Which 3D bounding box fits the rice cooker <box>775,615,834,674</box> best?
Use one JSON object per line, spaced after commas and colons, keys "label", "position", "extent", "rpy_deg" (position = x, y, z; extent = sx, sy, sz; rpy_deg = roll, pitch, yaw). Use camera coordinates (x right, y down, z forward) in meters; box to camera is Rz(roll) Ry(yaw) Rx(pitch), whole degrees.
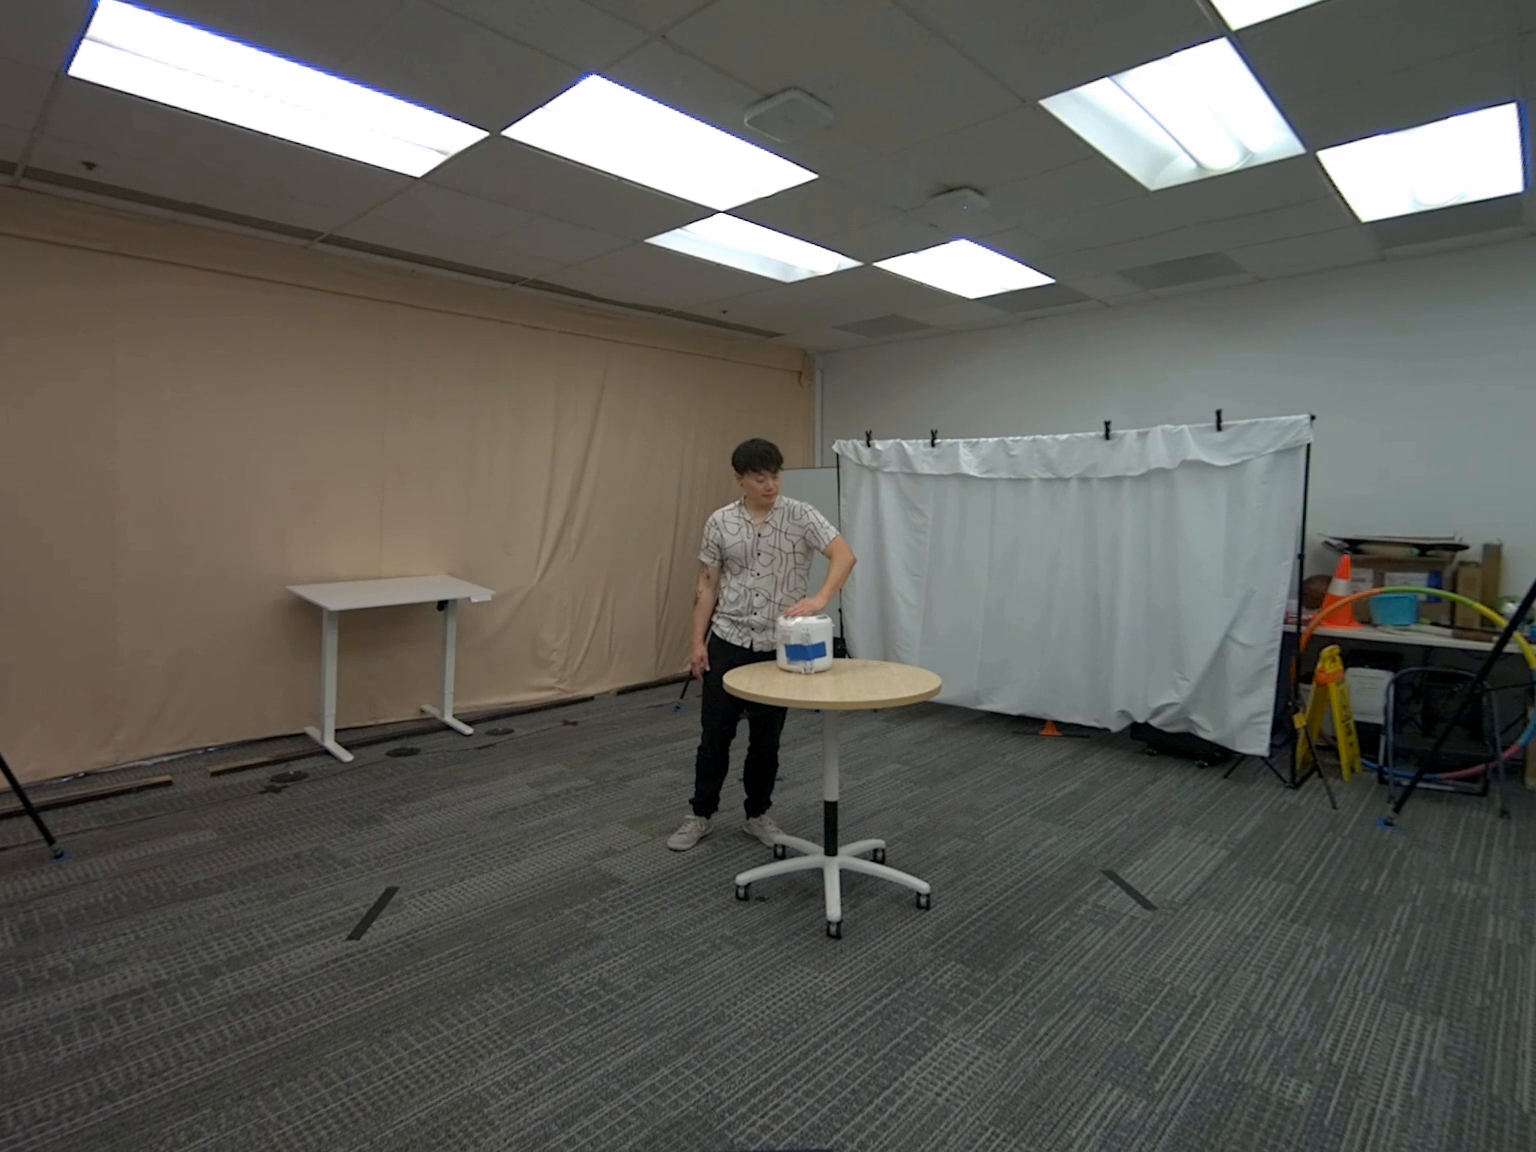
{"label": "rice cooker", "position": [0.136, 0.231, 3.141], "extent": [0.214, 0.232, 0.225], "rpy_deg": [-3, 5, -45]}
